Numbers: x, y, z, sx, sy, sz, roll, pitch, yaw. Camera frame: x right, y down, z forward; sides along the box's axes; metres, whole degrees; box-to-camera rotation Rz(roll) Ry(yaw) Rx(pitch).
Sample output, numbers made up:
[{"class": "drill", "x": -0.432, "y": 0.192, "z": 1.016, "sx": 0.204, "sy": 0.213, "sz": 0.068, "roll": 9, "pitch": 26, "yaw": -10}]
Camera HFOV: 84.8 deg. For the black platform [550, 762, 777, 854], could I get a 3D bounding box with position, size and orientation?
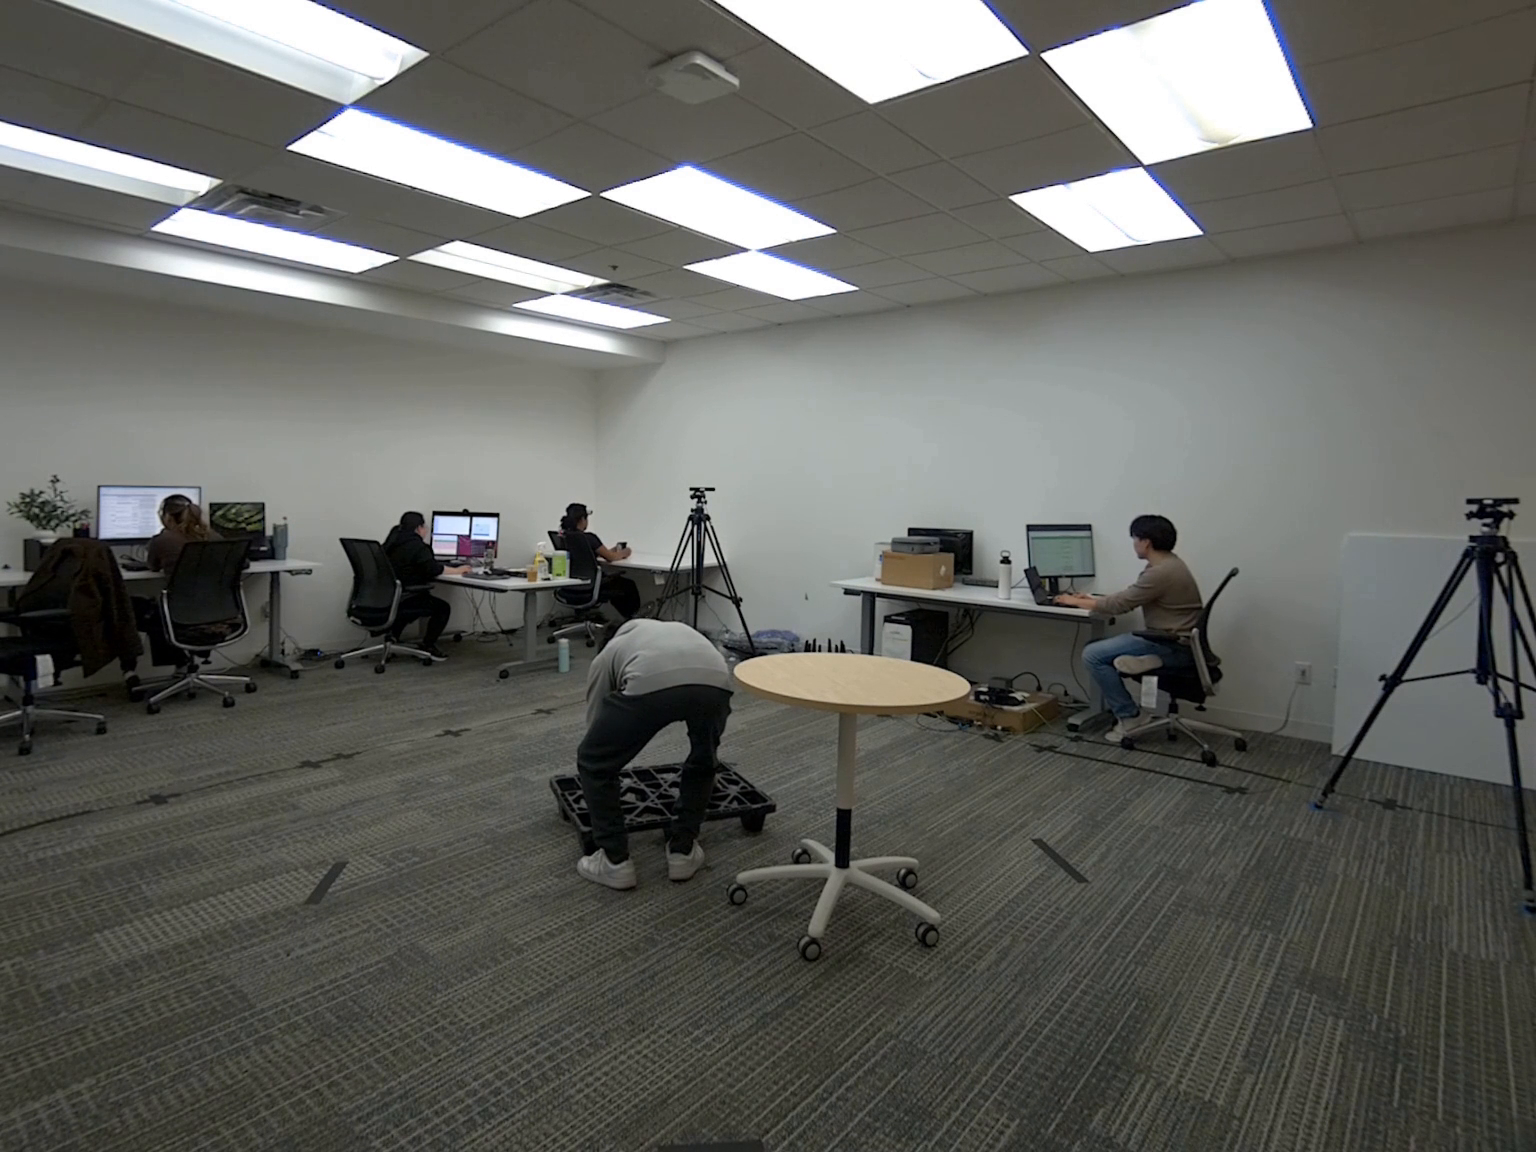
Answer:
[{"class": "black platform", "x": -0.460, "y": 0.943, "z": 3.530, "sx": 0.787, "sy": 0.142, "sz": 0.623, "roll": -2, "pitch": 8, "yaw": -24}]
